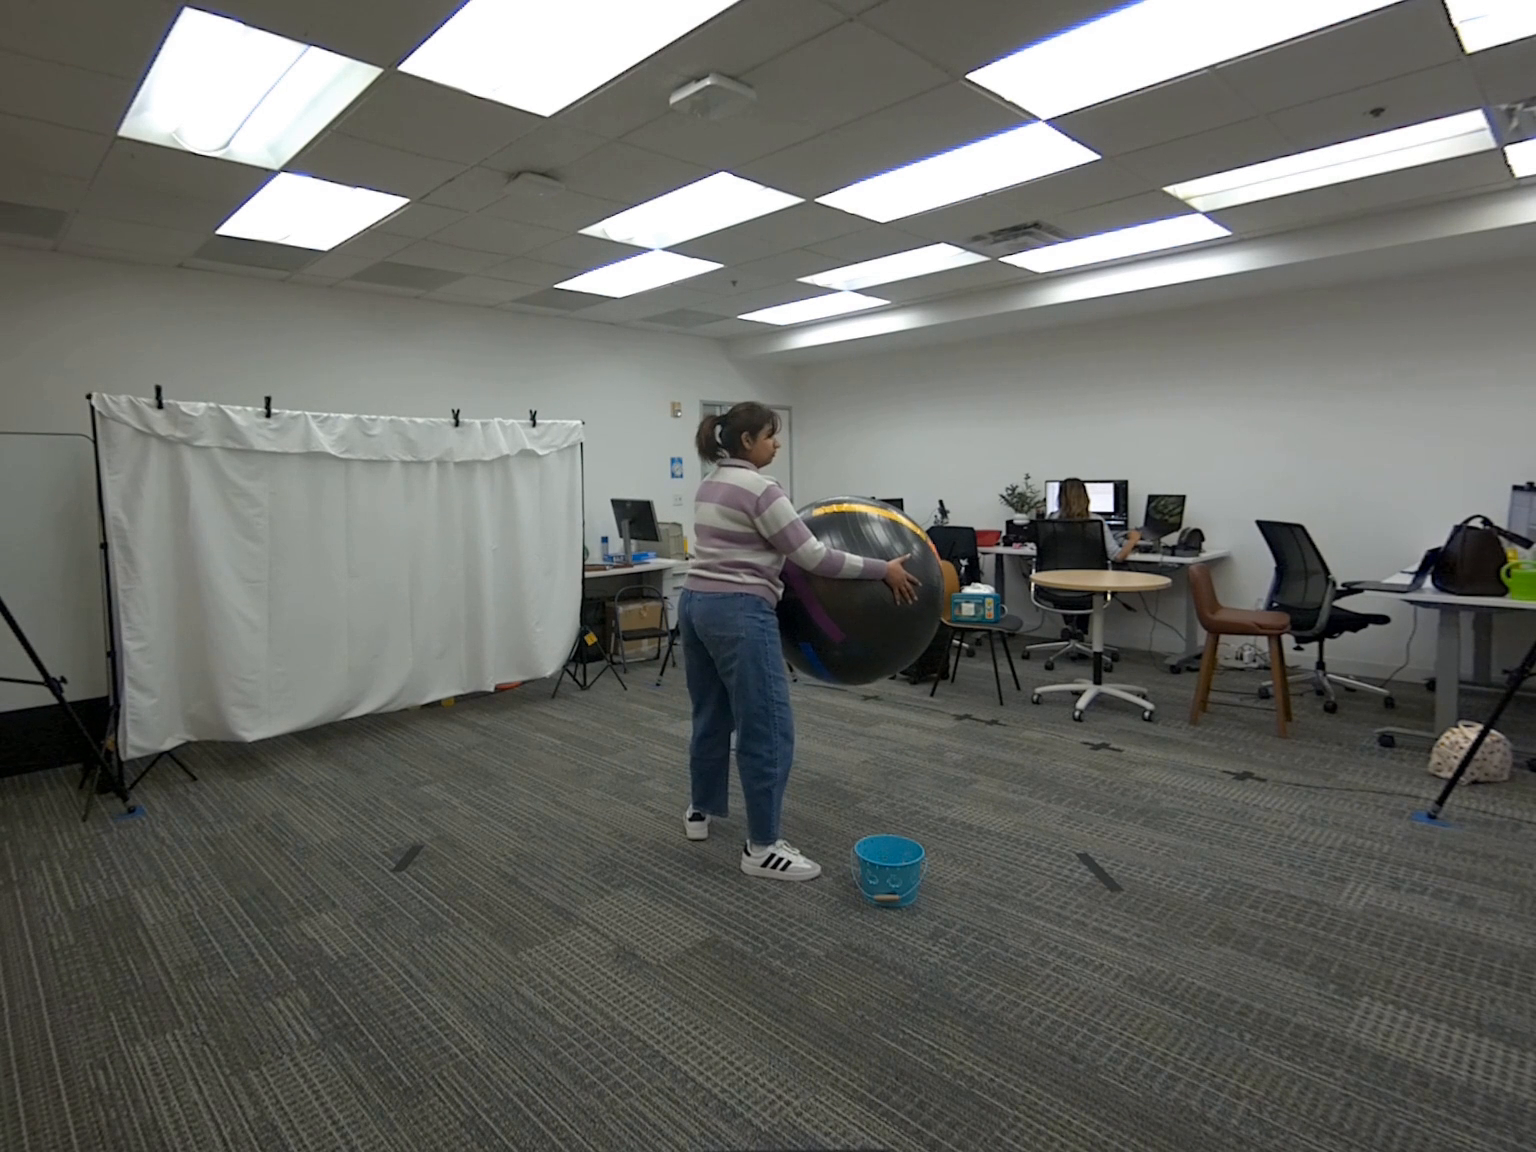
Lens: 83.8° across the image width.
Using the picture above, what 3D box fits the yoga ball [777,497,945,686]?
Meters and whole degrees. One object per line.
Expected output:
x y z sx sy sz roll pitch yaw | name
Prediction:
0.334 0.057 3.449 0.757 0.755 0.762 -1 5 -2 | yoga ball
